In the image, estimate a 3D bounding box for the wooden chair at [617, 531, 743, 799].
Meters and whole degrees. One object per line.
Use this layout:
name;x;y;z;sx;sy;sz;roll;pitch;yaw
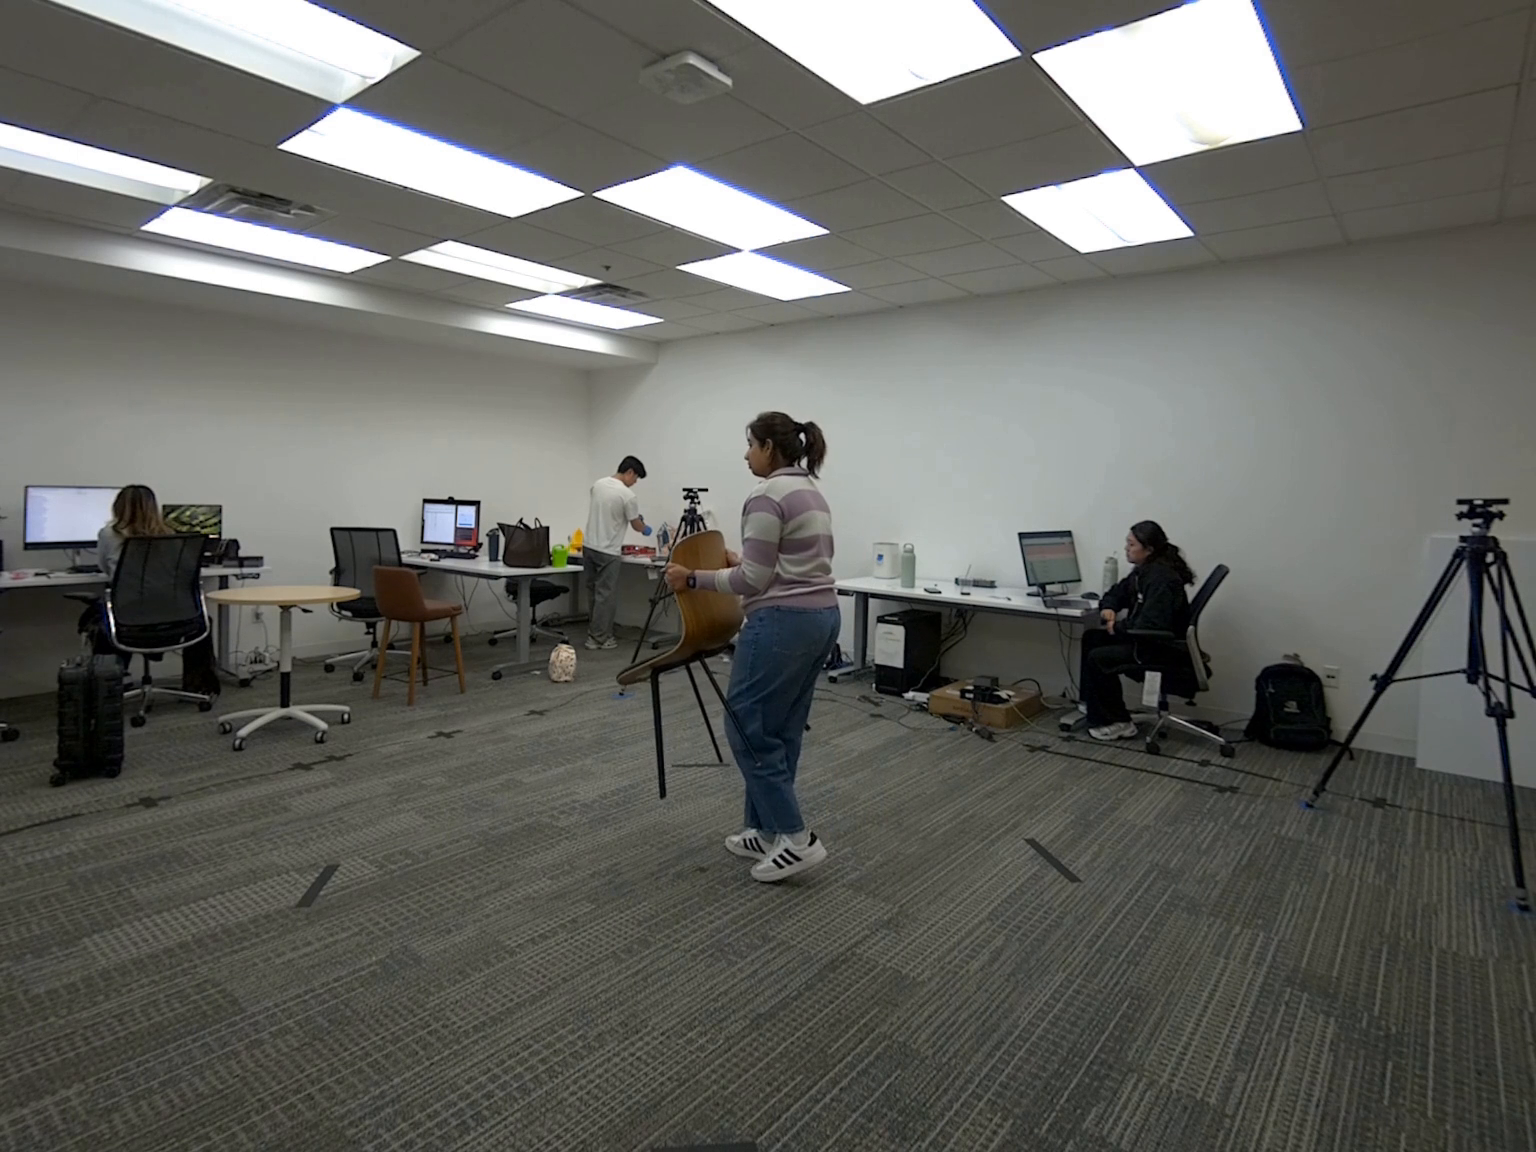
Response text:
wooden chair;-0.308;0.321;3.284;0.531;0.884;0.467;-23;-6;29
